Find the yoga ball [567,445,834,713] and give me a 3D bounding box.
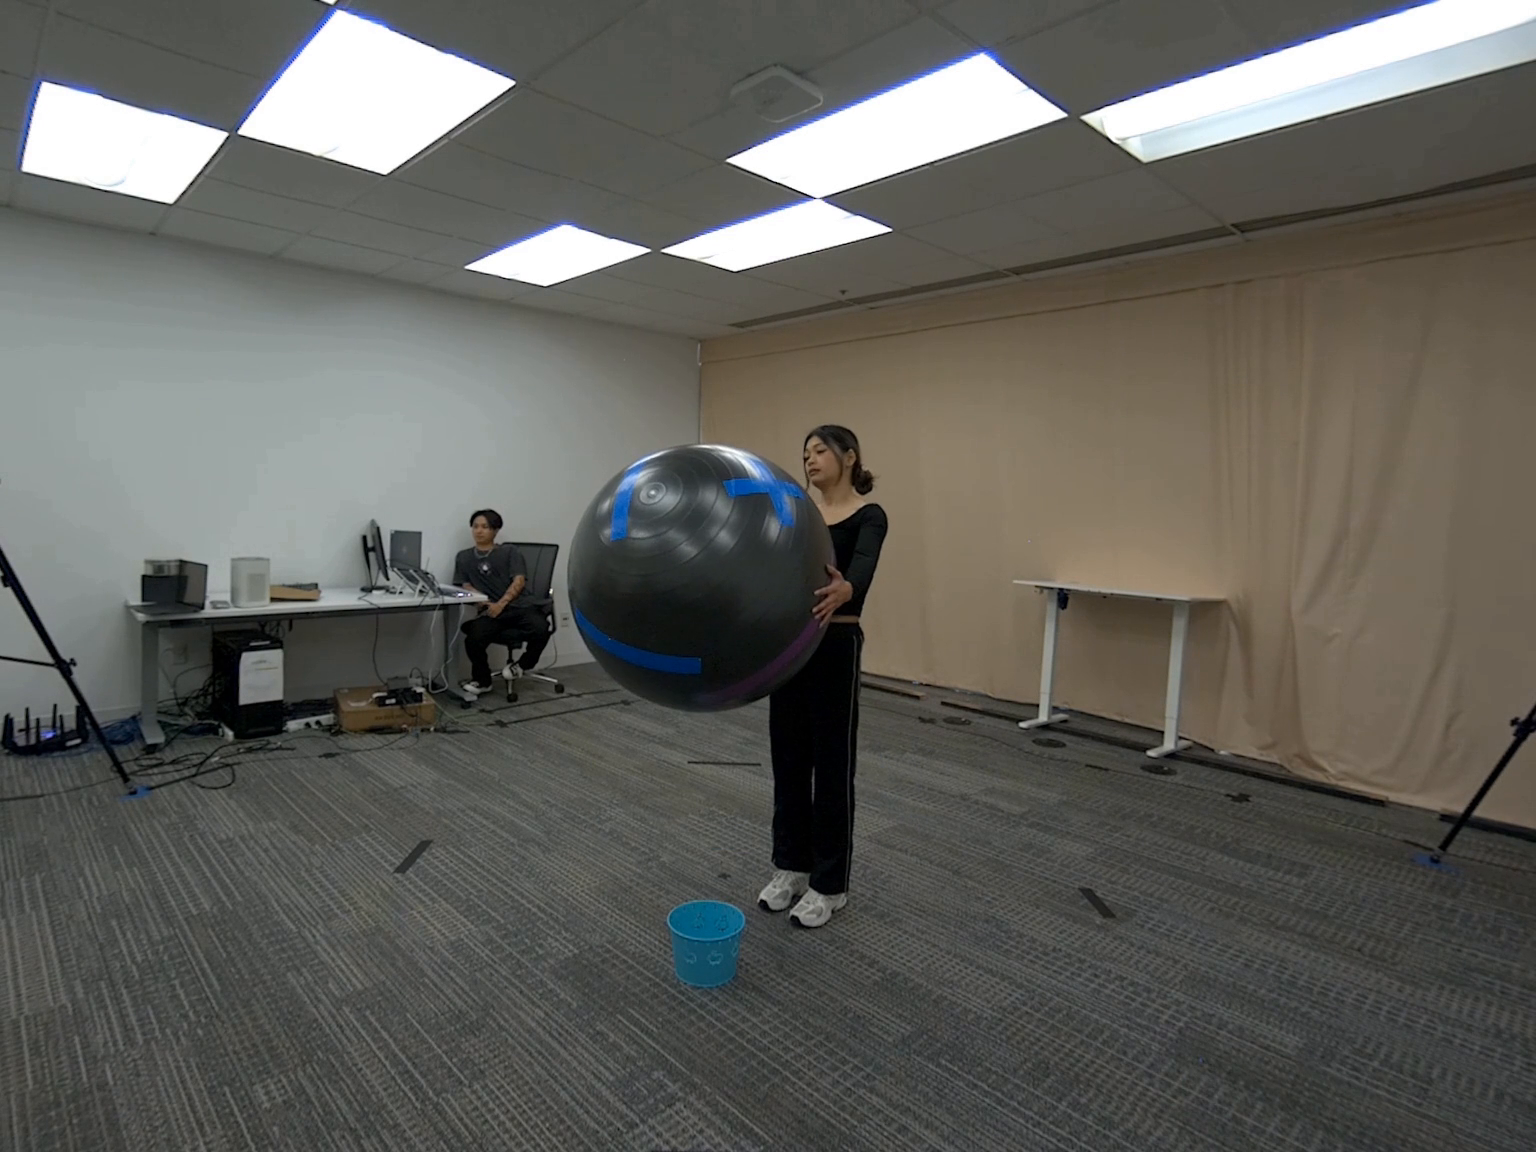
[{"bbox_3d":[-0.192,0.017,2.377,0.757,0.756,0.761,1,4,-1],"label":"yoga ball"}]
